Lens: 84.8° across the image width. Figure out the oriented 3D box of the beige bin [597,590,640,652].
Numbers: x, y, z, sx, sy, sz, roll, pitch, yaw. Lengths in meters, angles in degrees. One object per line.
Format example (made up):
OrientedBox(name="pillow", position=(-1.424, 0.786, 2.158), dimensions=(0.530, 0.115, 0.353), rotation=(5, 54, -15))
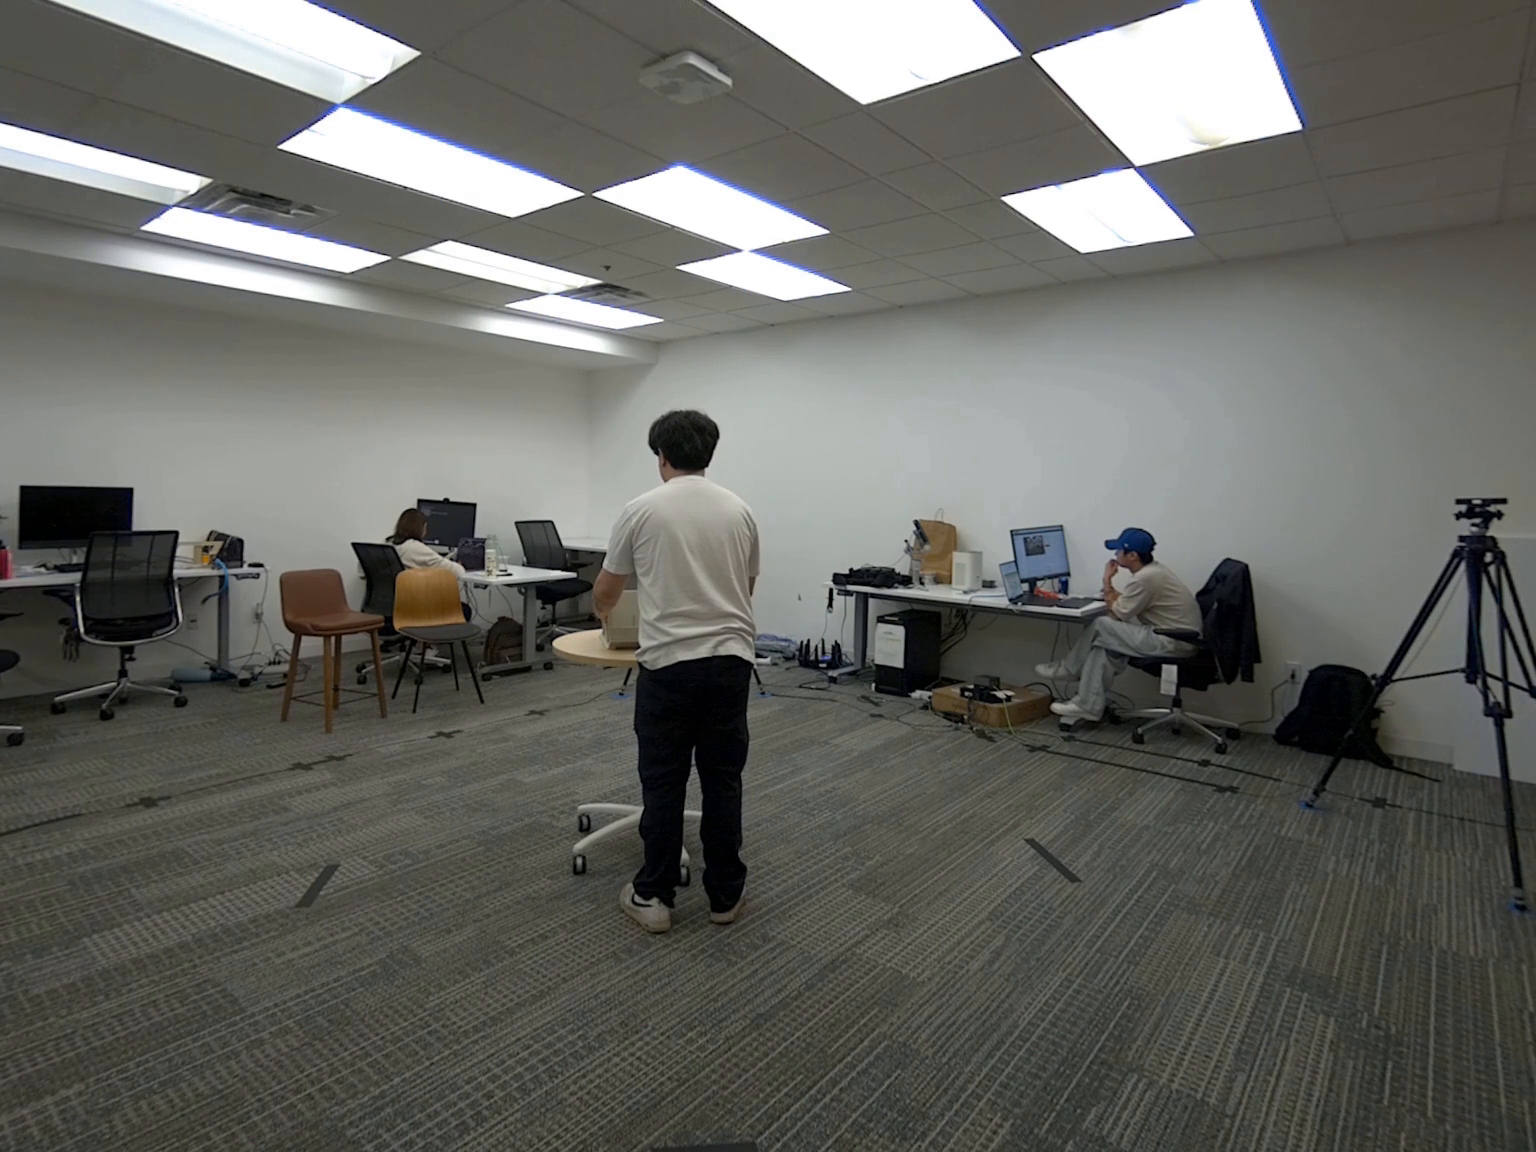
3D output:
OrientedBox(name="beige bin", position=(-0.431, 0.164, 3.263), dimensions=(0.416, 0.189, 0.384), rotation=(-1, 3, -15))
